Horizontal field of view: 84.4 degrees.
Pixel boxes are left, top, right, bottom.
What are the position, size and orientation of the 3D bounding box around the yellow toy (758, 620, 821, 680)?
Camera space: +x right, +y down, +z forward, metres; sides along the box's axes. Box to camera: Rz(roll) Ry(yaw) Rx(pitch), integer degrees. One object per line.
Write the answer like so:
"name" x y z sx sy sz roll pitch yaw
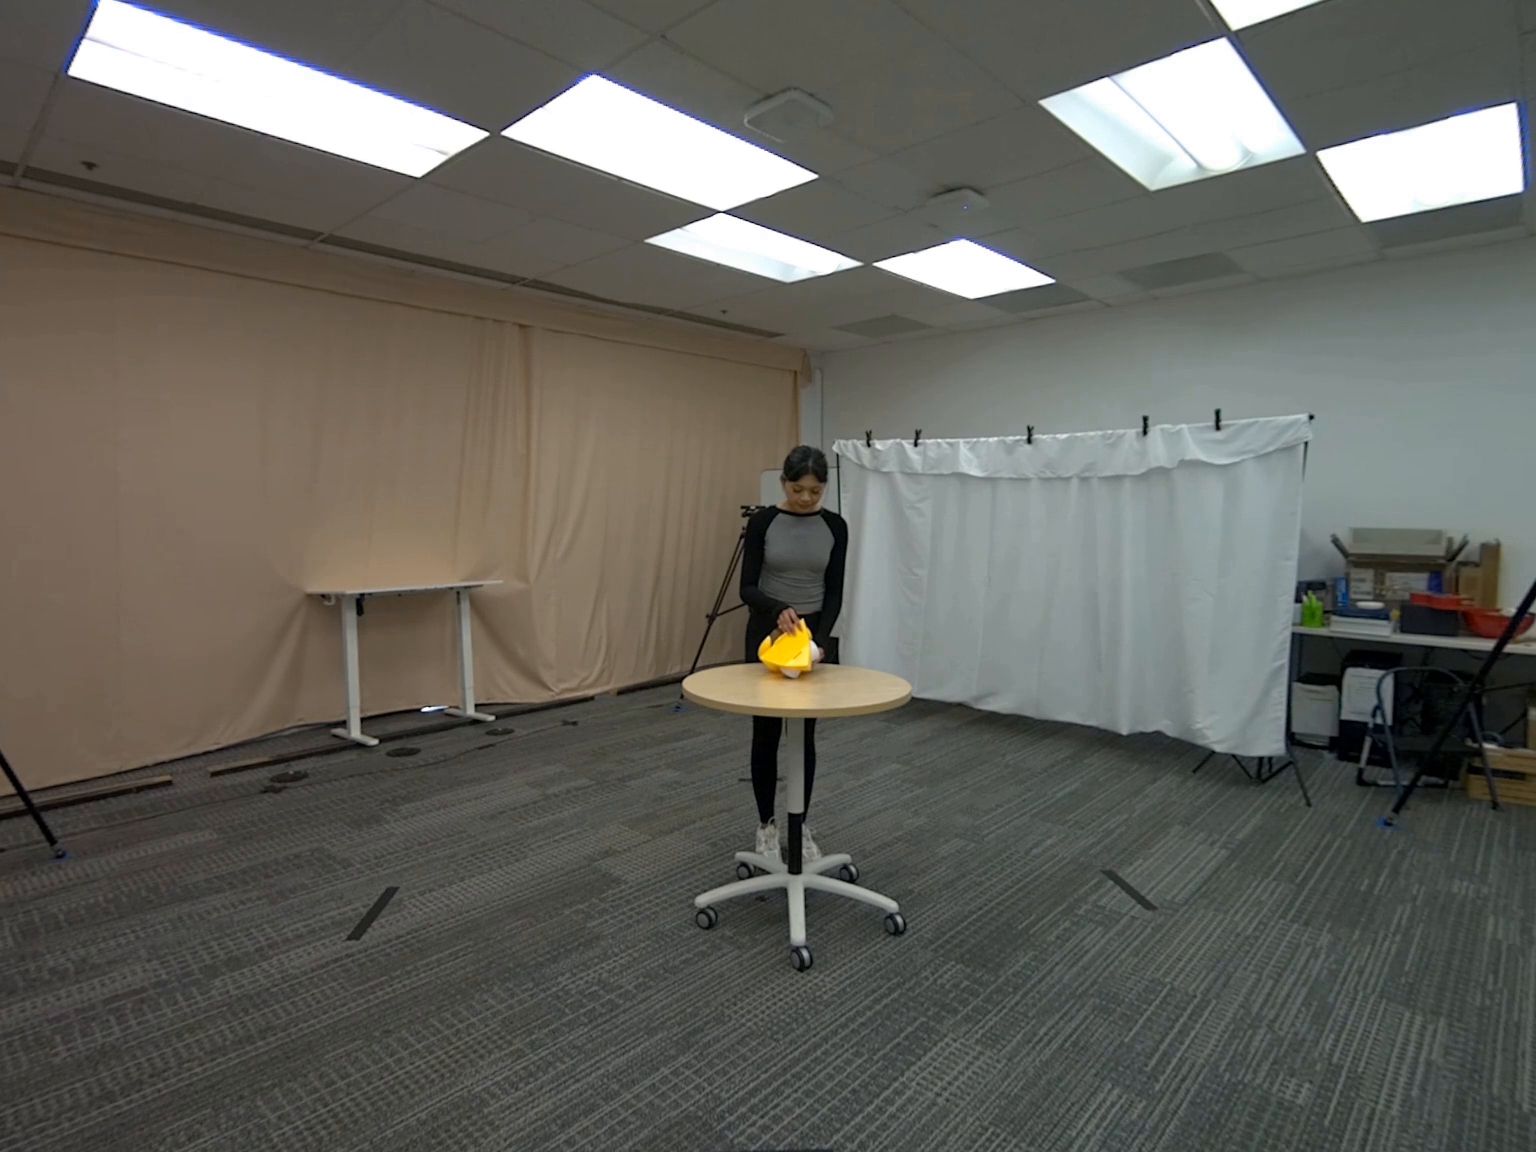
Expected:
"yellow toy" 0.102 0.288 2.949 0.187 0.204 0.239 51 -5 -37
